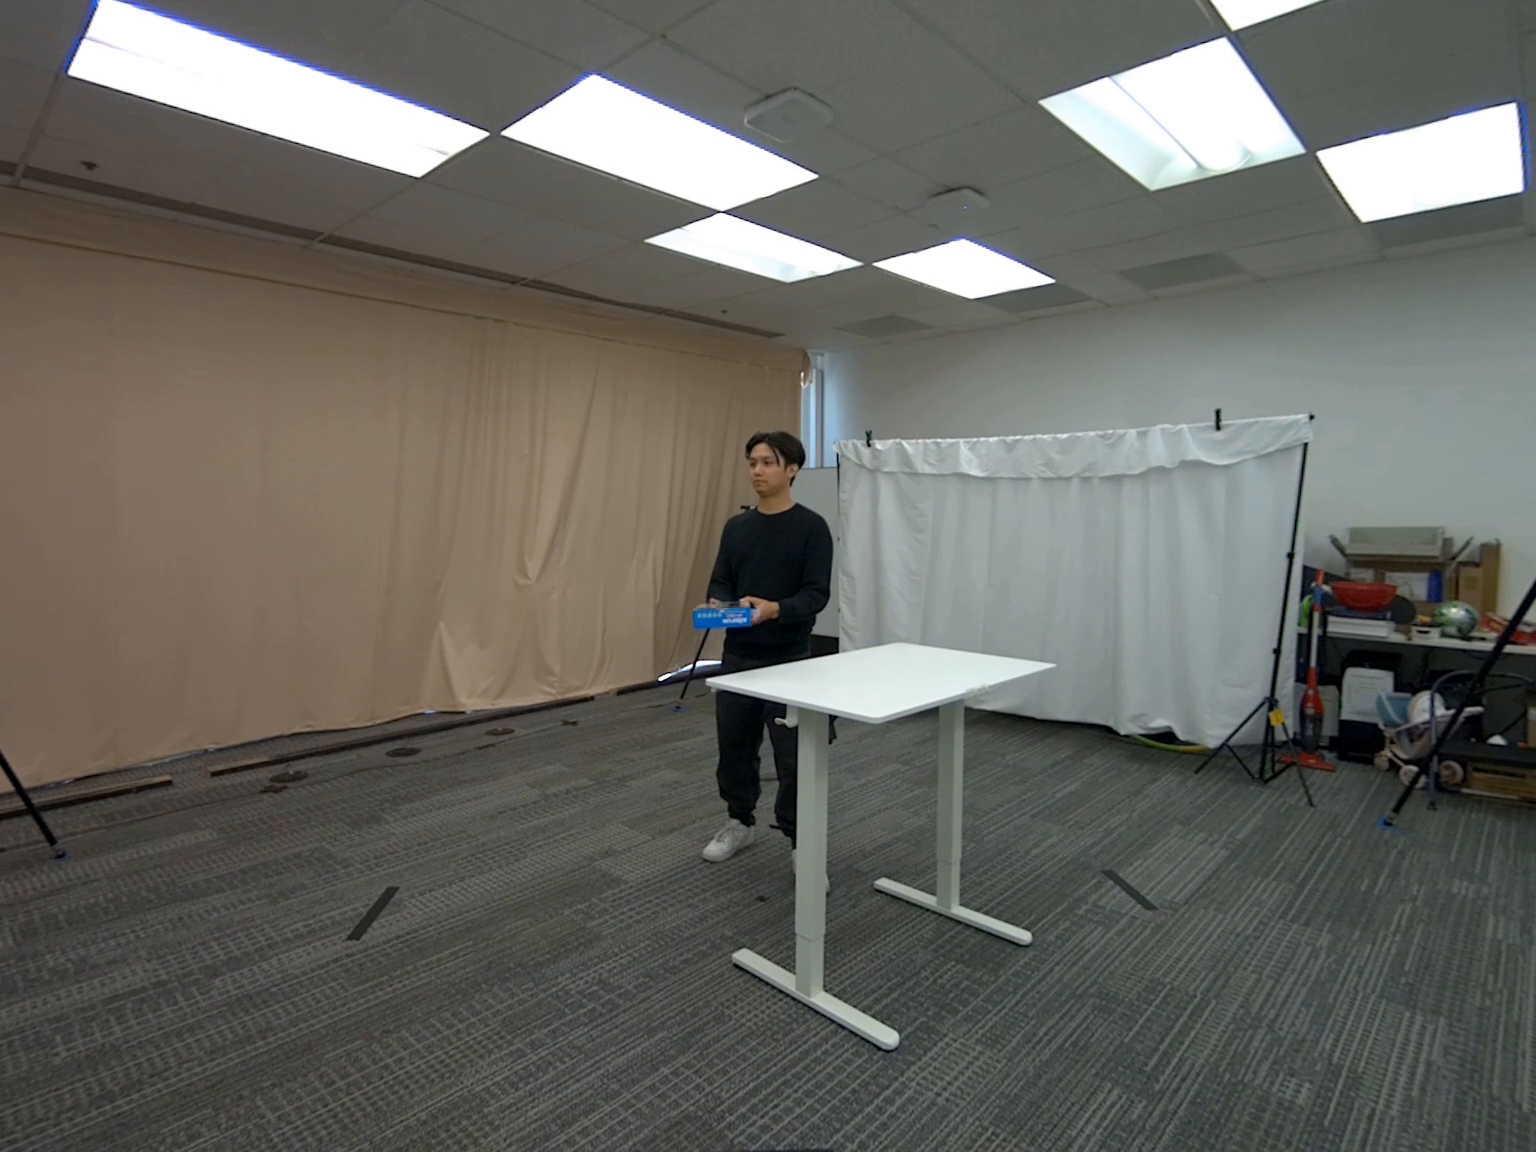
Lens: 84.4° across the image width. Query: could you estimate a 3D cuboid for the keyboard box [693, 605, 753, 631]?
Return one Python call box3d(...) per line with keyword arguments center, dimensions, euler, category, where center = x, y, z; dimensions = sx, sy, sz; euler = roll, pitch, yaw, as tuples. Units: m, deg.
box3d(center=(-0.136, 0.123, 2.736), dimensions=(0.176, 0.059, 0.436), euler=(-2, 0, -1), category="keyboard box")
